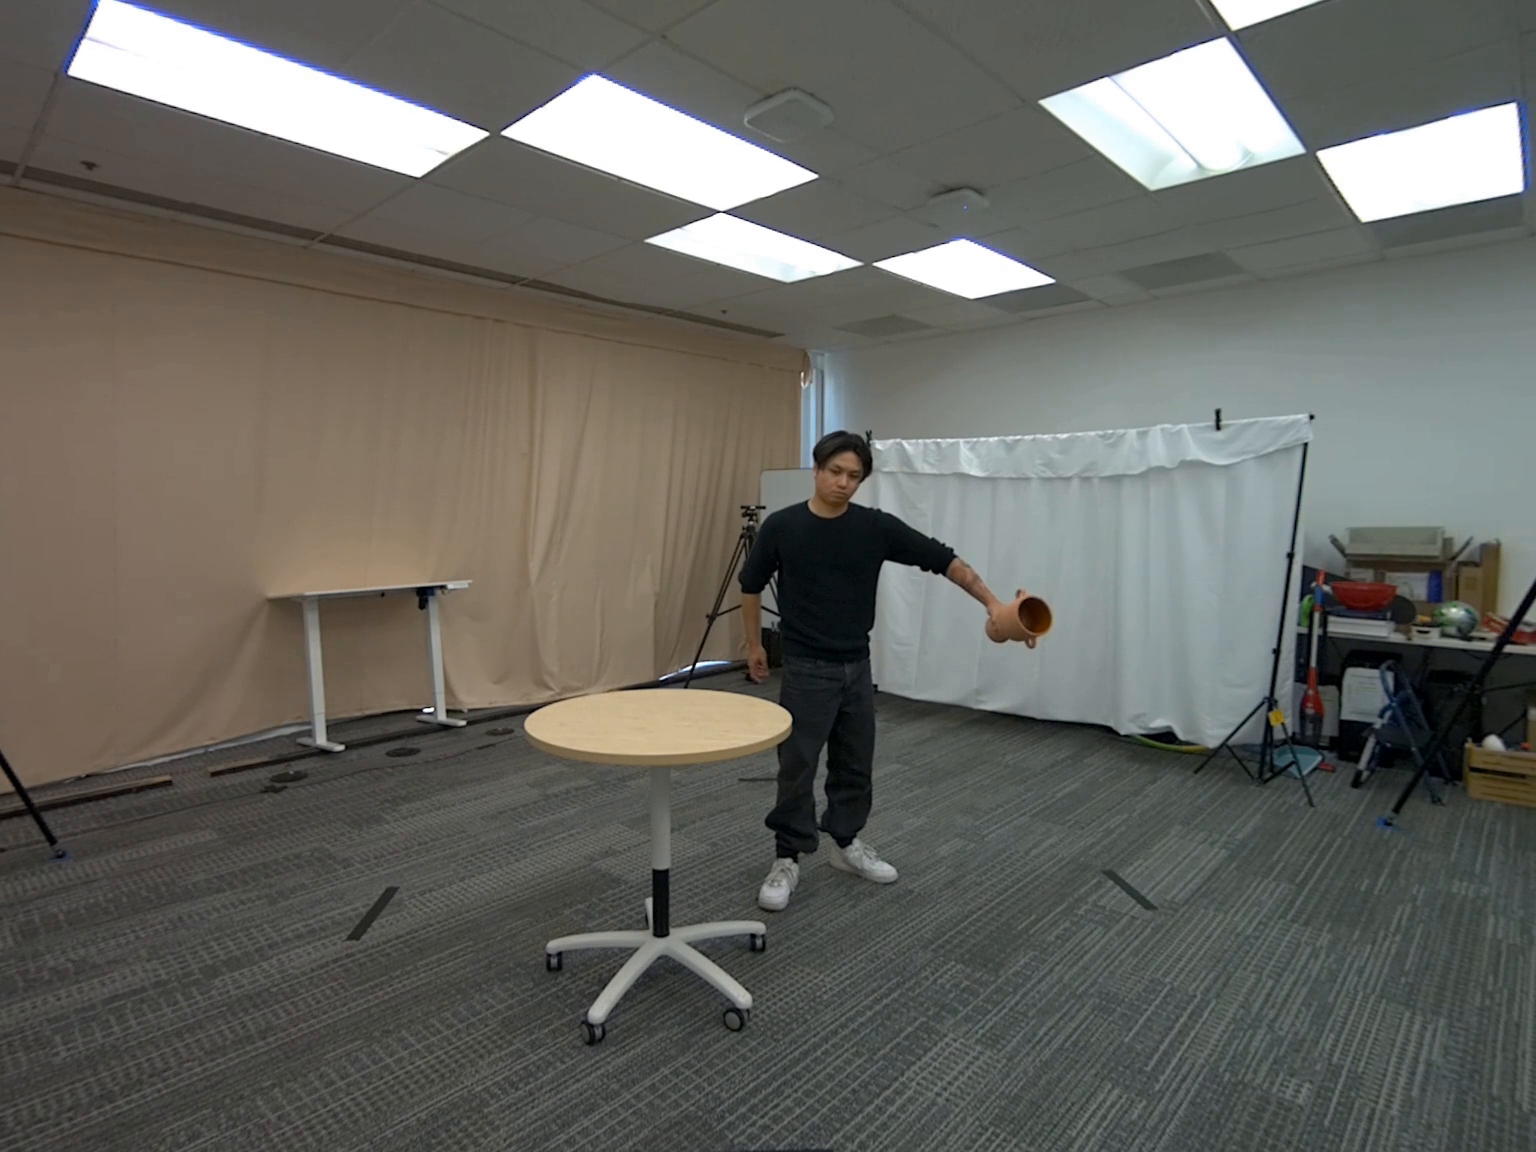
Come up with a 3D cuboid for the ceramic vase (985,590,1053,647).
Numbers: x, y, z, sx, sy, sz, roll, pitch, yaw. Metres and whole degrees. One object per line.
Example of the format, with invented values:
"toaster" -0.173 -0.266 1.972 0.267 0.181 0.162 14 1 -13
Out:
"ceramic vase" 0.812 0.151 2.785 0.134 0.158 0.221 36 -22 -3
